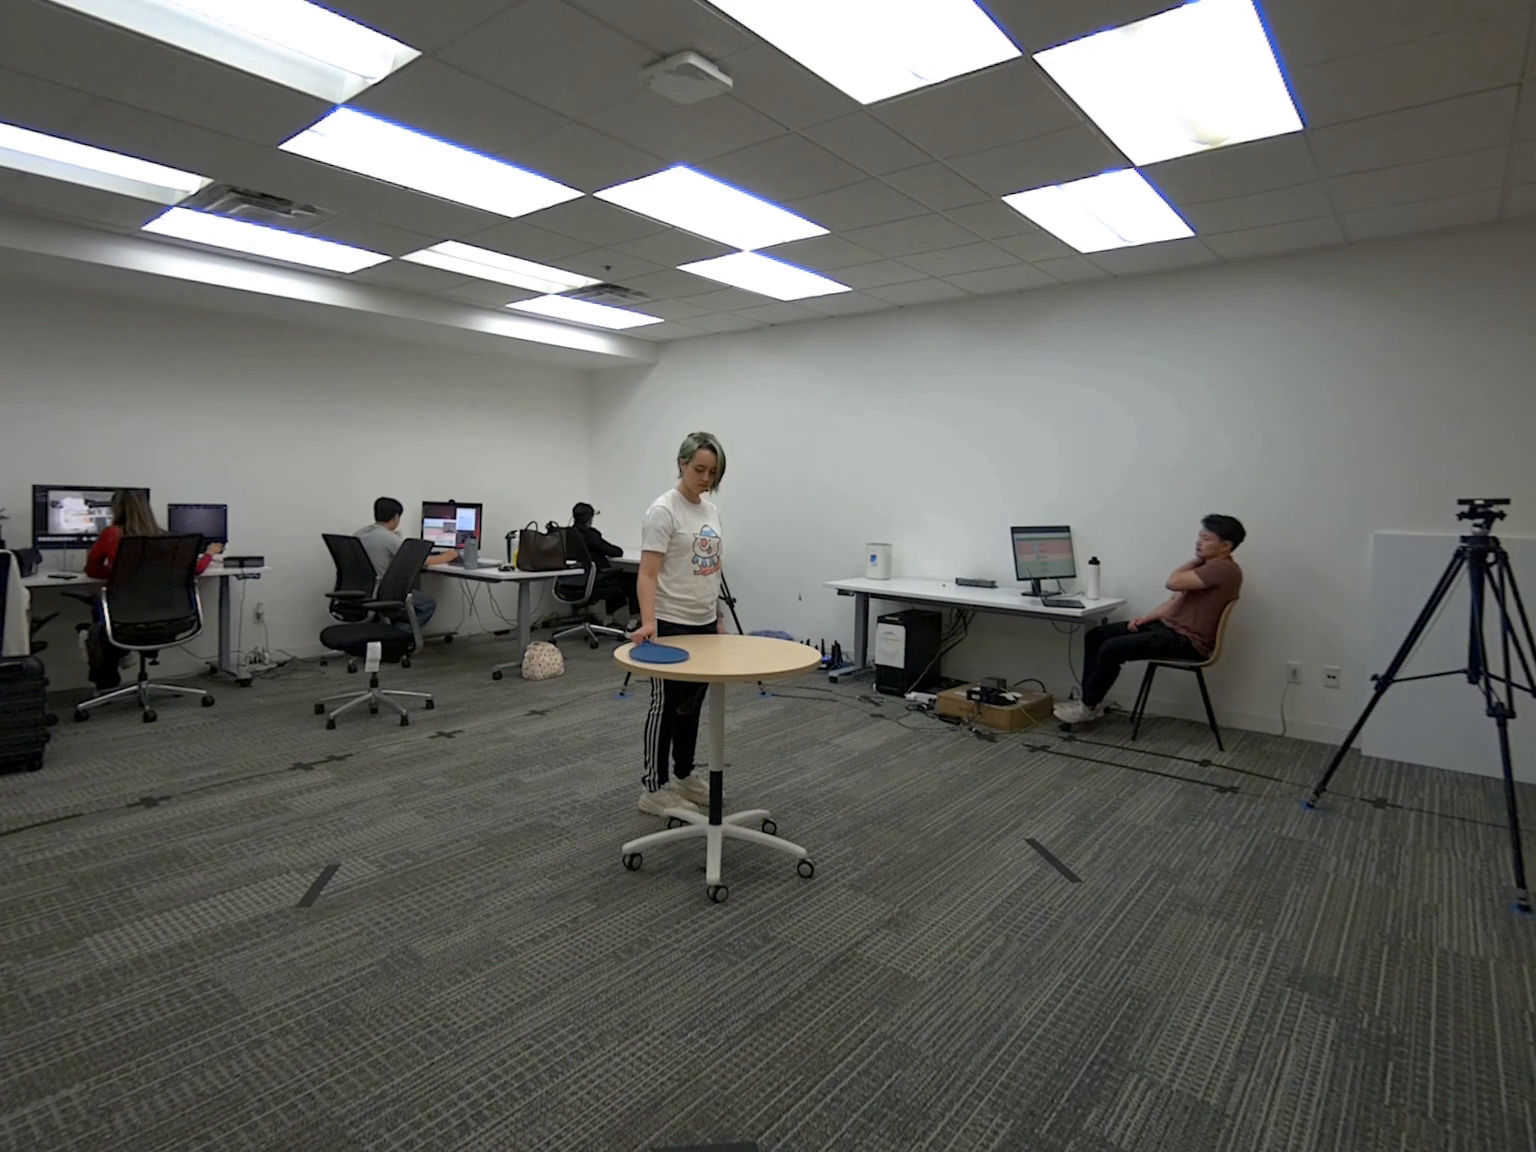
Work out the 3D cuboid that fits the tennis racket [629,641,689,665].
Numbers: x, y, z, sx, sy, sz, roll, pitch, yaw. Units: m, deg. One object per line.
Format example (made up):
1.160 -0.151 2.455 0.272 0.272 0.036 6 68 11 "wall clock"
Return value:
-0.426 0.268 3.141 0.210 0.031 0.442 0 7 -17 "tennis racket"
